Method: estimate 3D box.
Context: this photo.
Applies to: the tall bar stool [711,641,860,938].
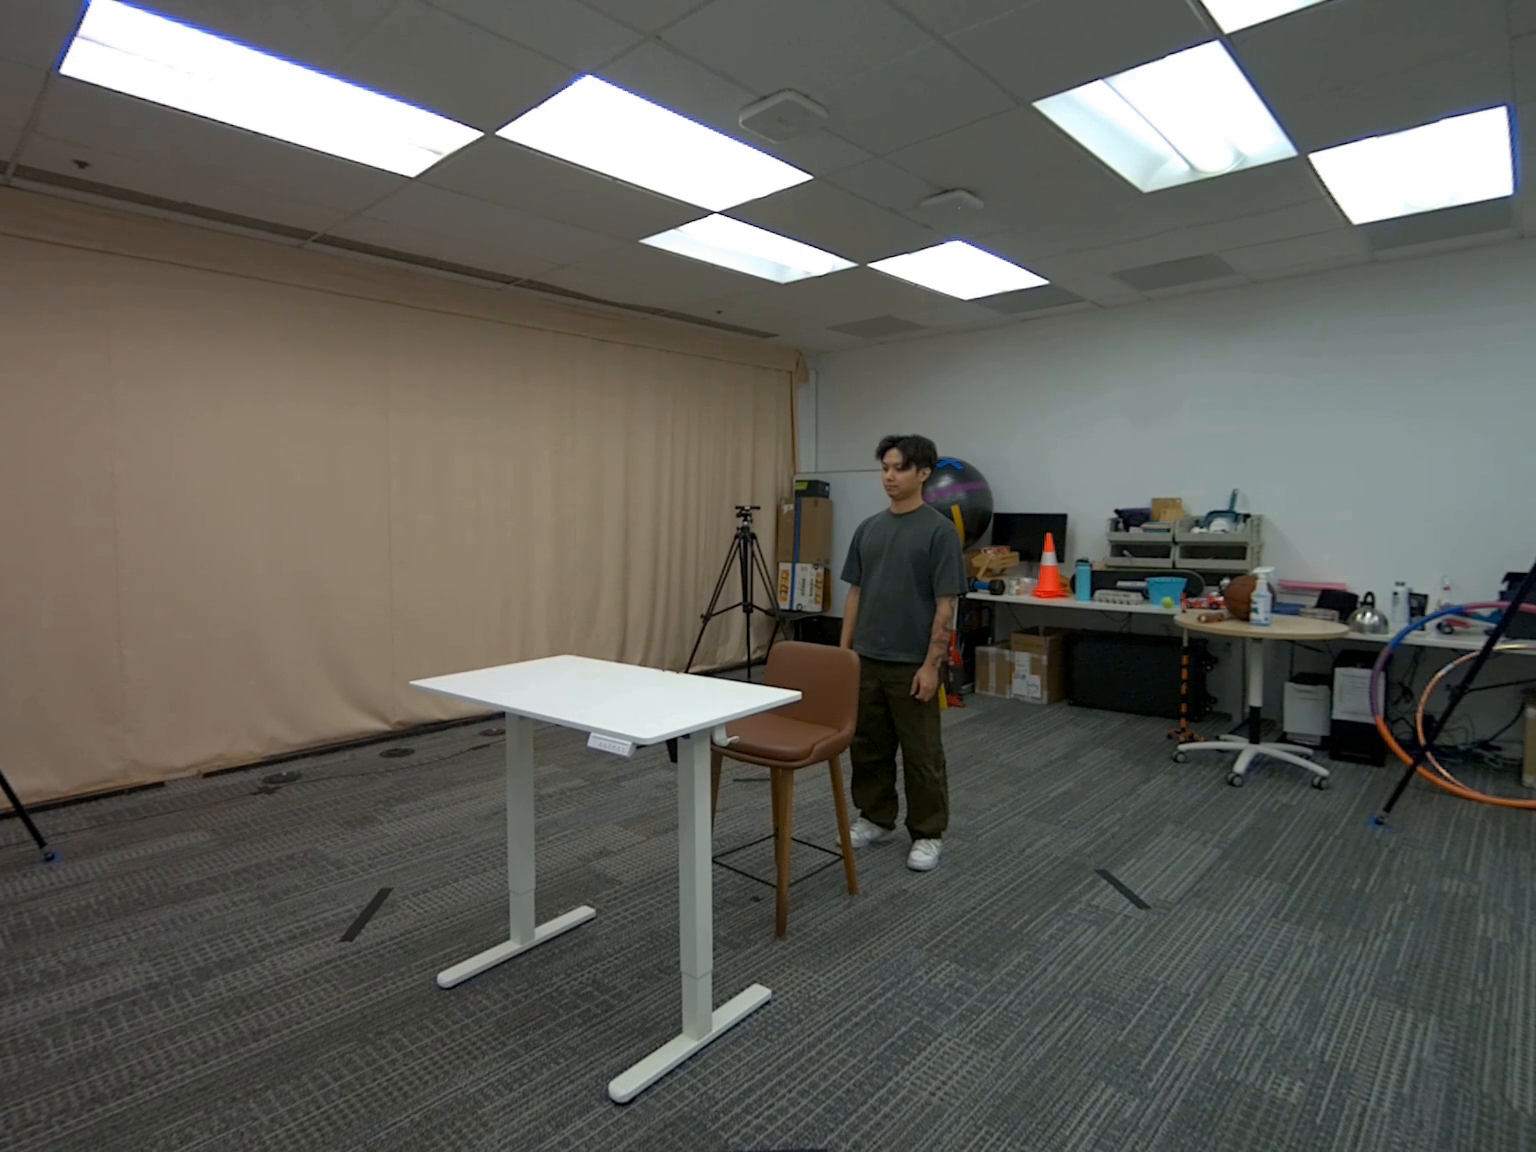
[{"bbox_3d":[0.054,0.707,2.982,0.472,0.888,0.453,3,3,43],"label":"tall bar stool"}]
